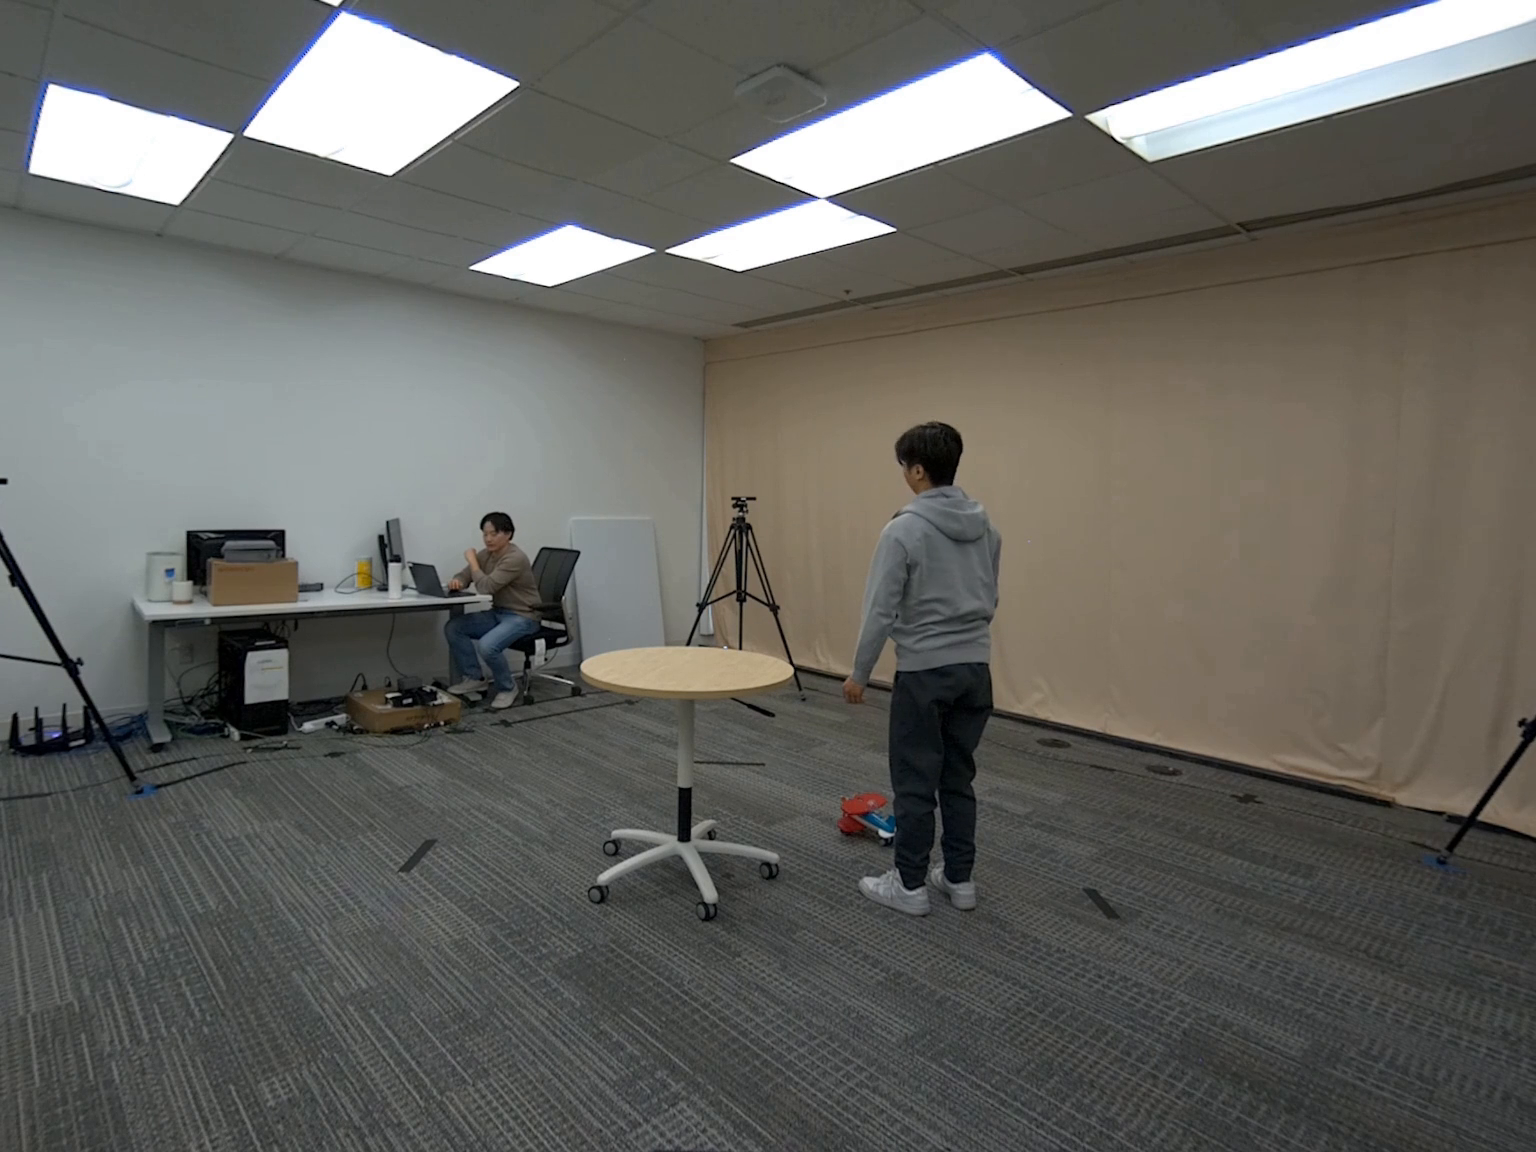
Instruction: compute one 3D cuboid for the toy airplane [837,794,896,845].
[{"bbox_3d":[0.420,1.011,3.510,0.263,0.156,0.248,2,3,18],"label":"toy airplane"}]
